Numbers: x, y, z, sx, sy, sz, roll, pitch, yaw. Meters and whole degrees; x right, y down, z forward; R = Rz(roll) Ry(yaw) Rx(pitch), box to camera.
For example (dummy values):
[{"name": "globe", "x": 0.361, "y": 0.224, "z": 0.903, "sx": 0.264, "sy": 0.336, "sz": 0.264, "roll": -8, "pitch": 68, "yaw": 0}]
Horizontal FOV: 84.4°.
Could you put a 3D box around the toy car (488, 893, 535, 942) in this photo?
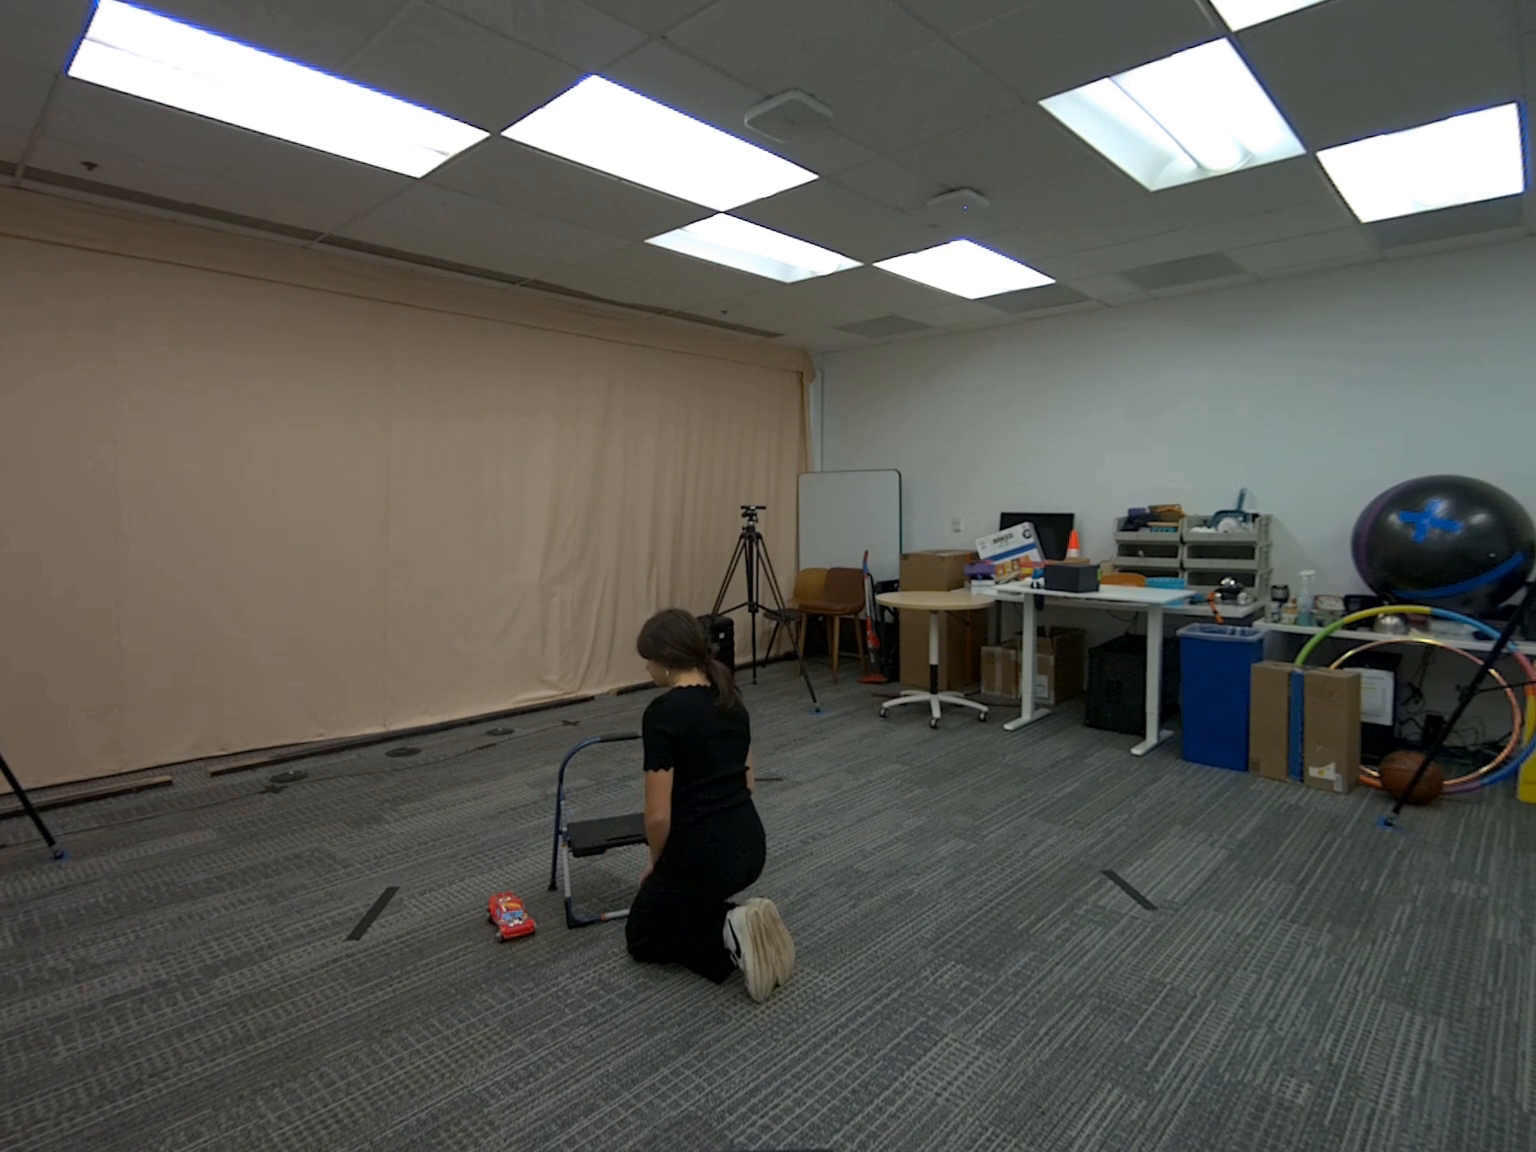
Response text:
[{"name": "toy car", "x": -0.863, "y": 1.136, "z": 2.802, "sx": 0.127, "sy": 0.082, "sz": 0.263, "roll": -4, "pitch": 17, "yaw": -27}]
